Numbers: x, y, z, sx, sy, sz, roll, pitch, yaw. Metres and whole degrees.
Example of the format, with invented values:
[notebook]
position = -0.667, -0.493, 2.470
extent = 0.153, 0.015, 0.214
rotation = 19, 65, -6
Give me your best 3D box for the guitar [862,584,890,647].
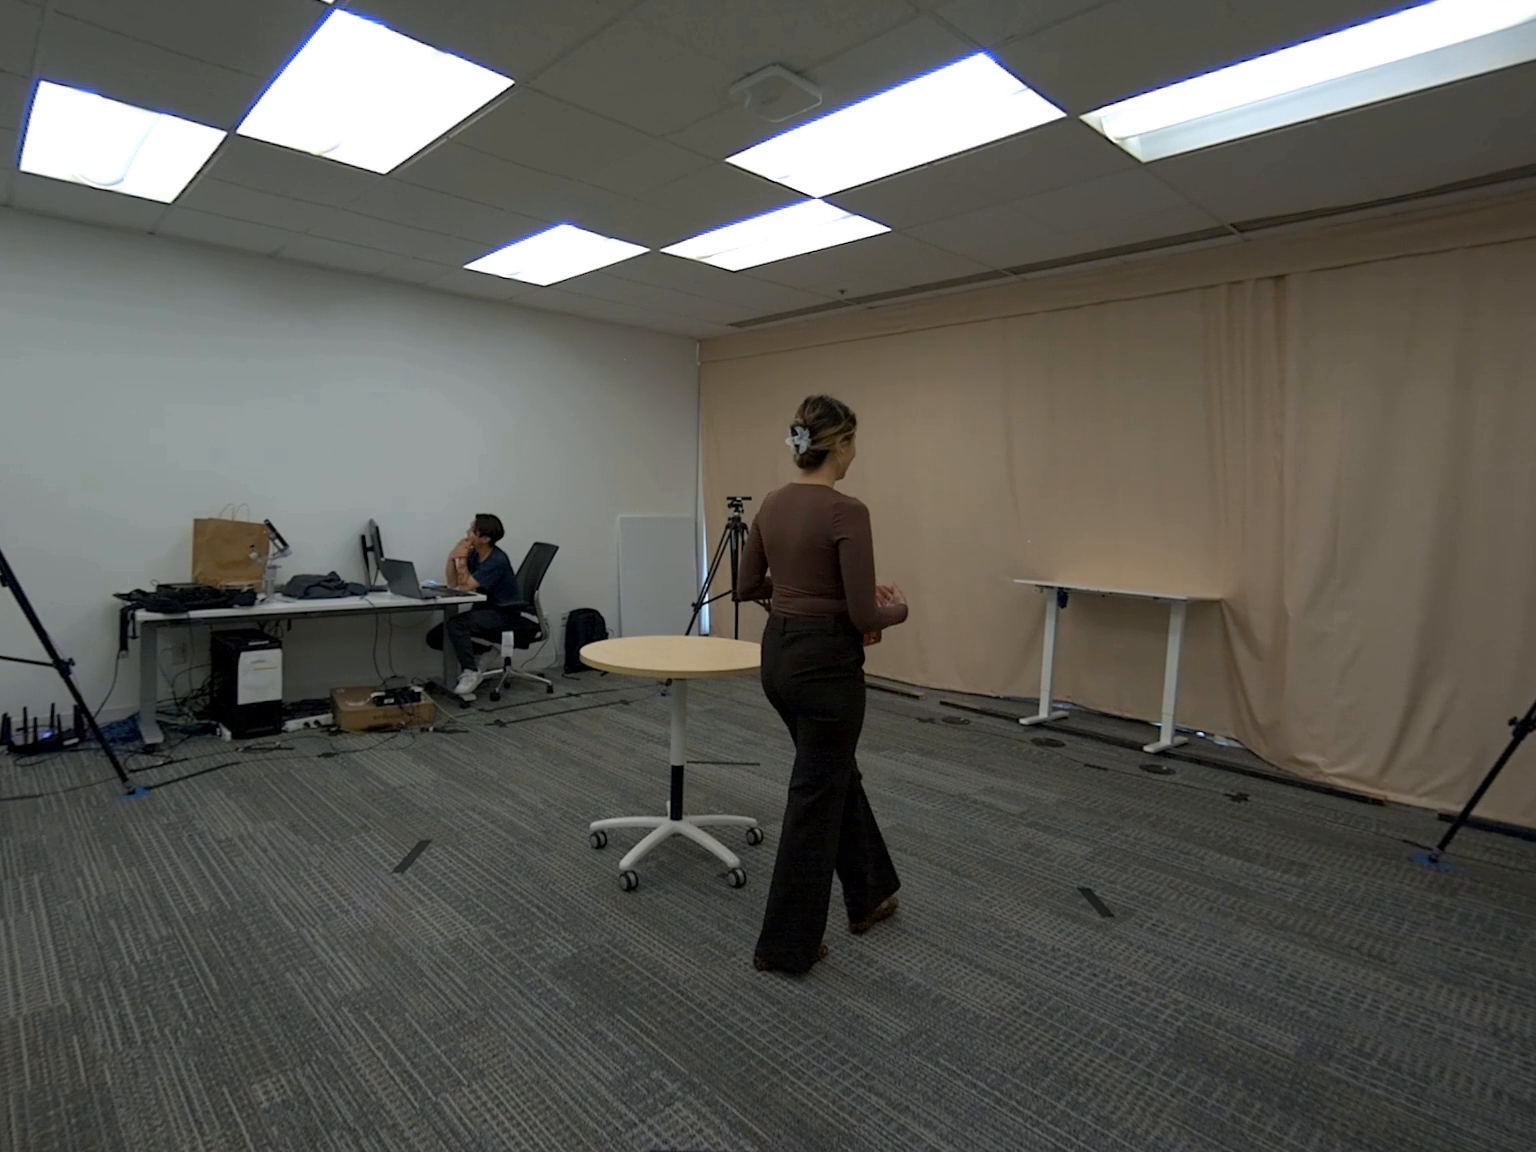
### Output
[guitar]
position = 0.248, 0.032, 2.686
extent = 0.070, 0.189, 0.510
rotation = -10, 32, -6
